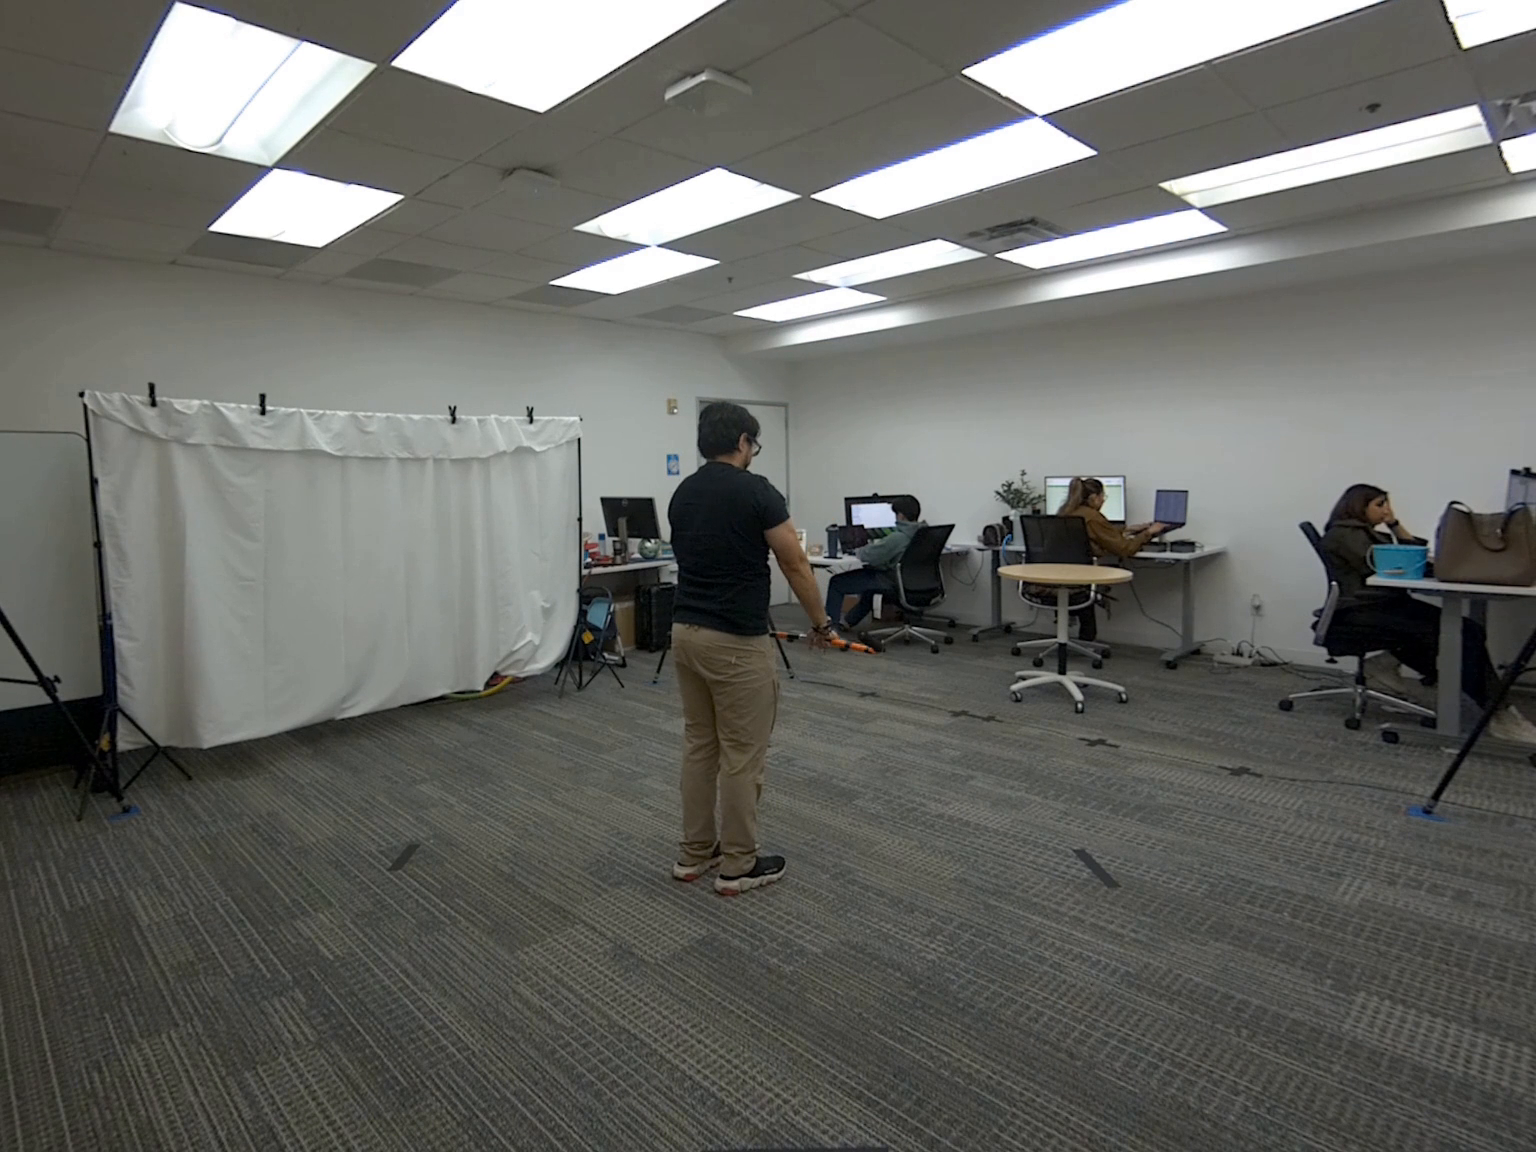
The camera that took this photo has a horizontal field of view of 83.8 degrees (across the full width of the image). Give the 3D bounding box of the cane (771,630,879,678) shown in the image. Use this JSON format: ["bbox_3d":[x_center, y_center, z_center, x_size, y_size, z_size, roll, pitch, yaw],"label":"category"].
[{"bbox_3d":[0.043,0.222,3.139,0.935,0.153,0.198,1,-25,43],"label":"cane"}]
